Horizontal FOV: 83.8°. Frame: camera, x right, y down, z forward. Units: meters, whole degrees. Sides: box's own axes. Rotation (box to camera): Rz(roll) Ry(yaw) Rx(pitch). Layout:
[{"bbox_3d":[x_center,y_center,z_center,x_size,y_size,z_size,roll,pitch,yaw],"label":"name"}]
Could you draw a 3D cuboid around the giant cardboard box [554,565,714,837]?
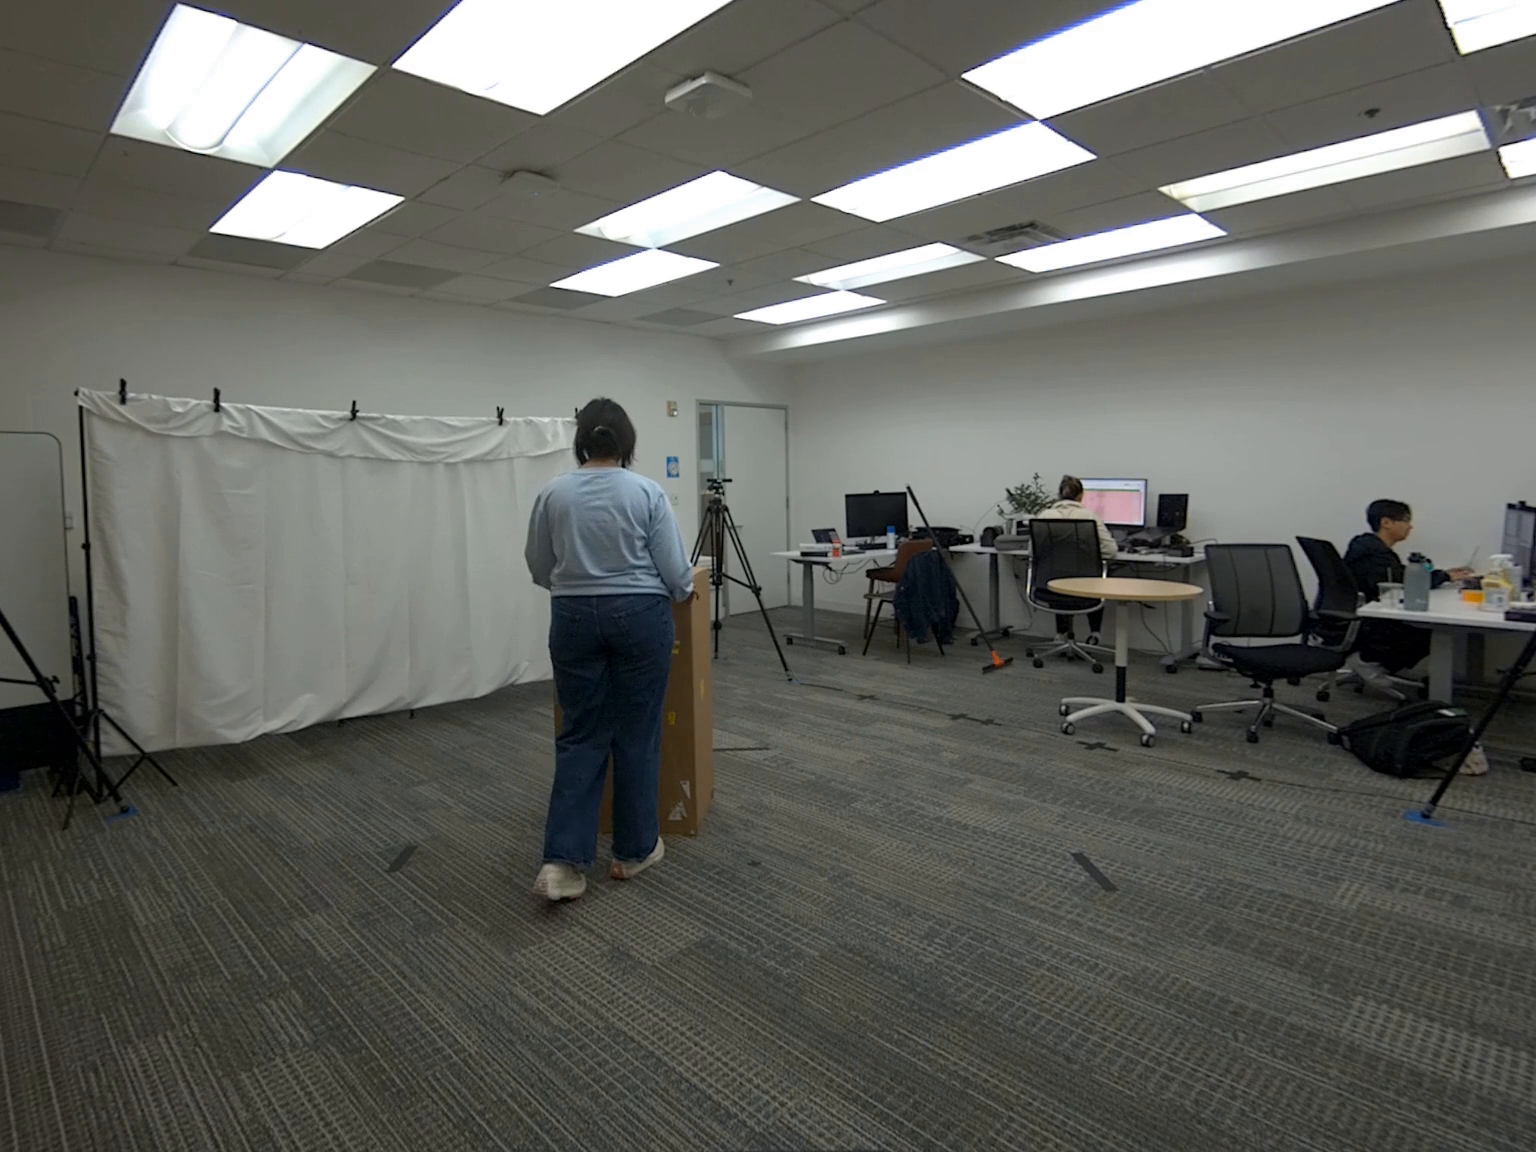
[{"bbox_3d":[-0.551,0.488,3.576,0.589,1.023,0.444,0,4,9],"label":"giant cardboard box"}]
